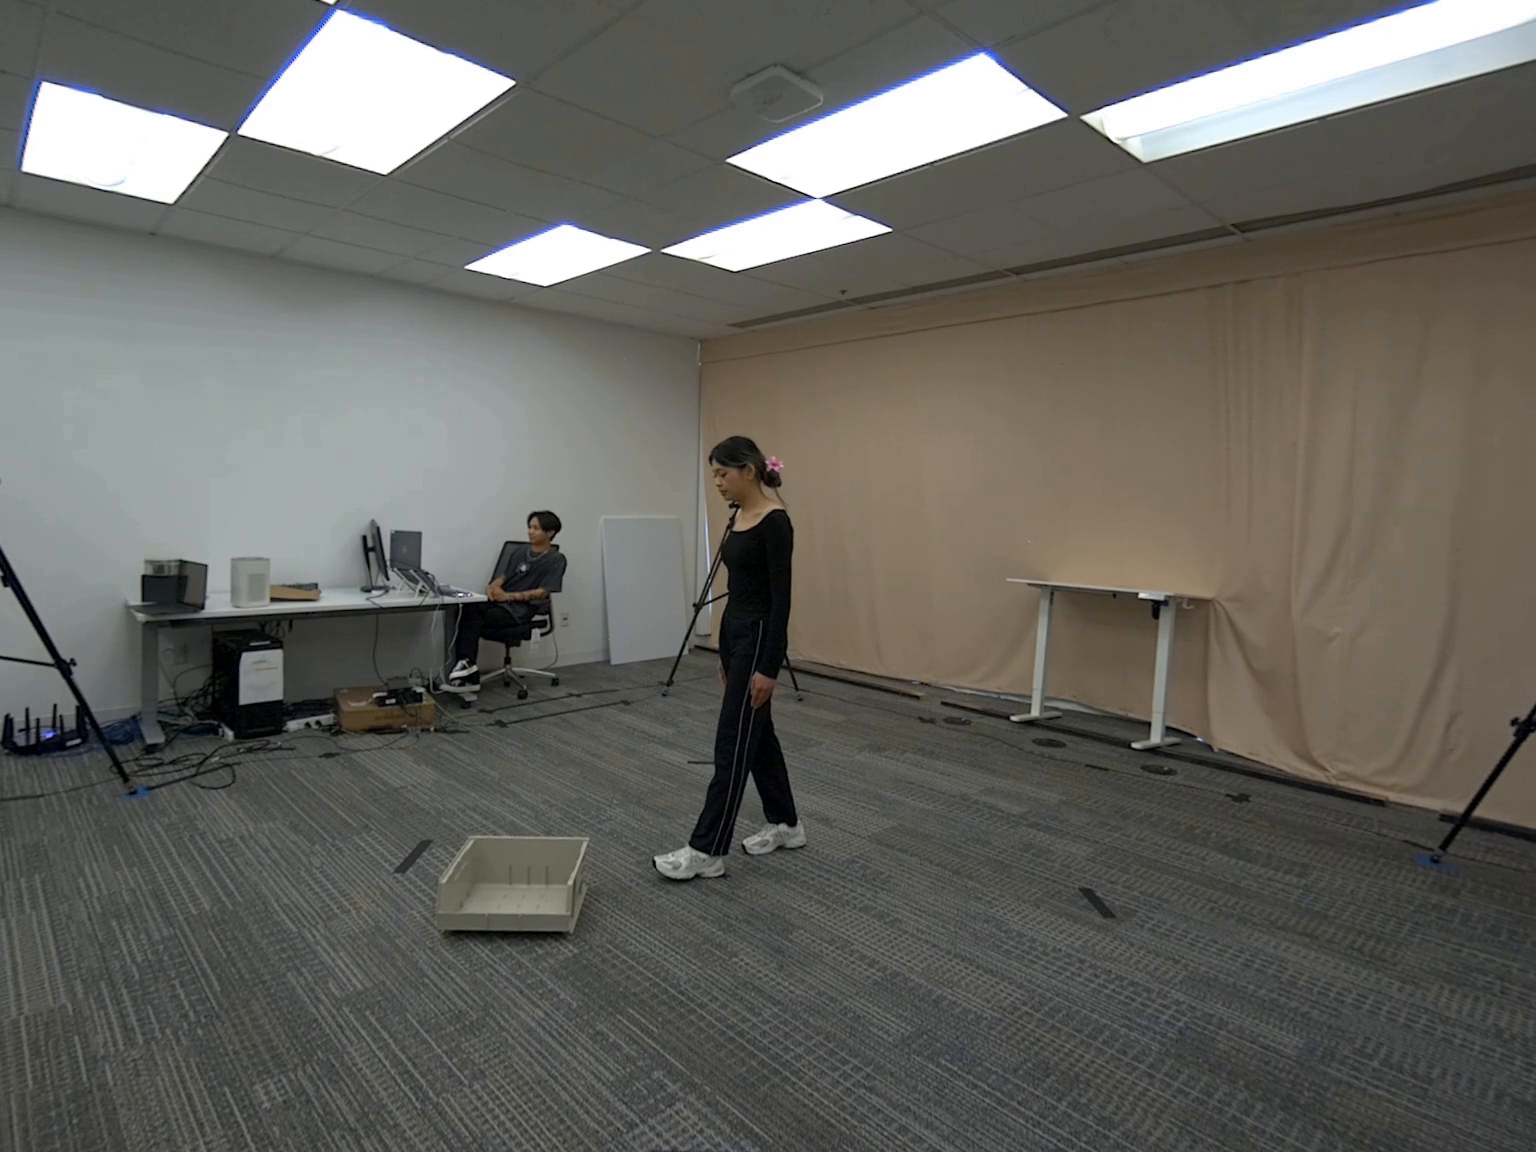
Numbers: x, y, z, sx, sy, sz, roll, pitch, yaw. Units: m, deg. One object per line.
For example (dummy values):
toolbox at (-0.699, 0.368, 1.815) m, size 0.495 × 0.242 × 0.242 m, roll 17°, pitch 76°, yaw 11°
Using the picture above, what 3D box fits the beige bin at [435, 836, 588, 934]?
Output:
beige bin at (-0.840, 1.033, 2.789) m, size 0.421 × 0.188 × 0.379 m, roll 0°, pitch 5°, yaw -3°
